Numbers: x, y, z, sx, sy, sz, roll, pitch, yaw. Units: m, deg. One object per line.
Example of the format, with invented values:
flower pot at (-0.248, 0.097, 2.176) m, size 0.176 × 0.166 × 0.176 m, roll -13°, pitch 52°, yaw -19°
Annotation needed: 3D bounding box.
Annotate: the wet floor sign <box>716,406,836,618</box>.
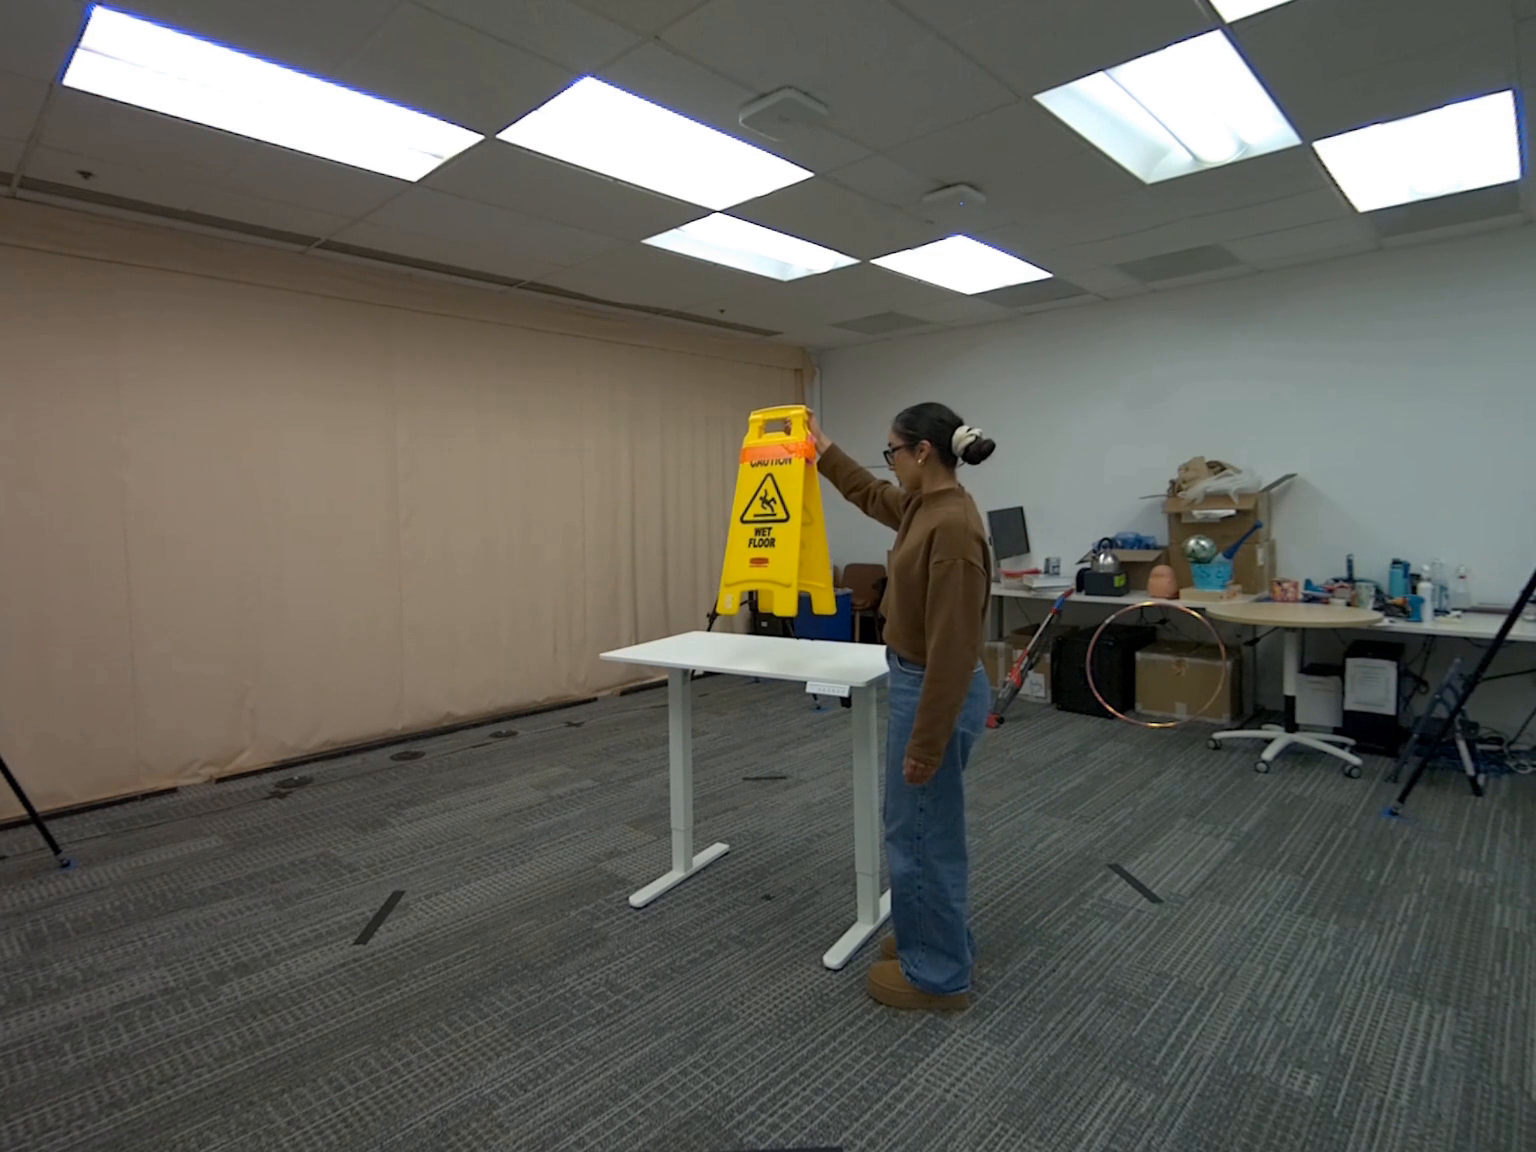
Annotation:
wet floor sign at (0.034, -0.203, 2.641) m, size 0.290 × 0.647 × 0.281 m, roll 0°, pitch -3°, yaw 31°
